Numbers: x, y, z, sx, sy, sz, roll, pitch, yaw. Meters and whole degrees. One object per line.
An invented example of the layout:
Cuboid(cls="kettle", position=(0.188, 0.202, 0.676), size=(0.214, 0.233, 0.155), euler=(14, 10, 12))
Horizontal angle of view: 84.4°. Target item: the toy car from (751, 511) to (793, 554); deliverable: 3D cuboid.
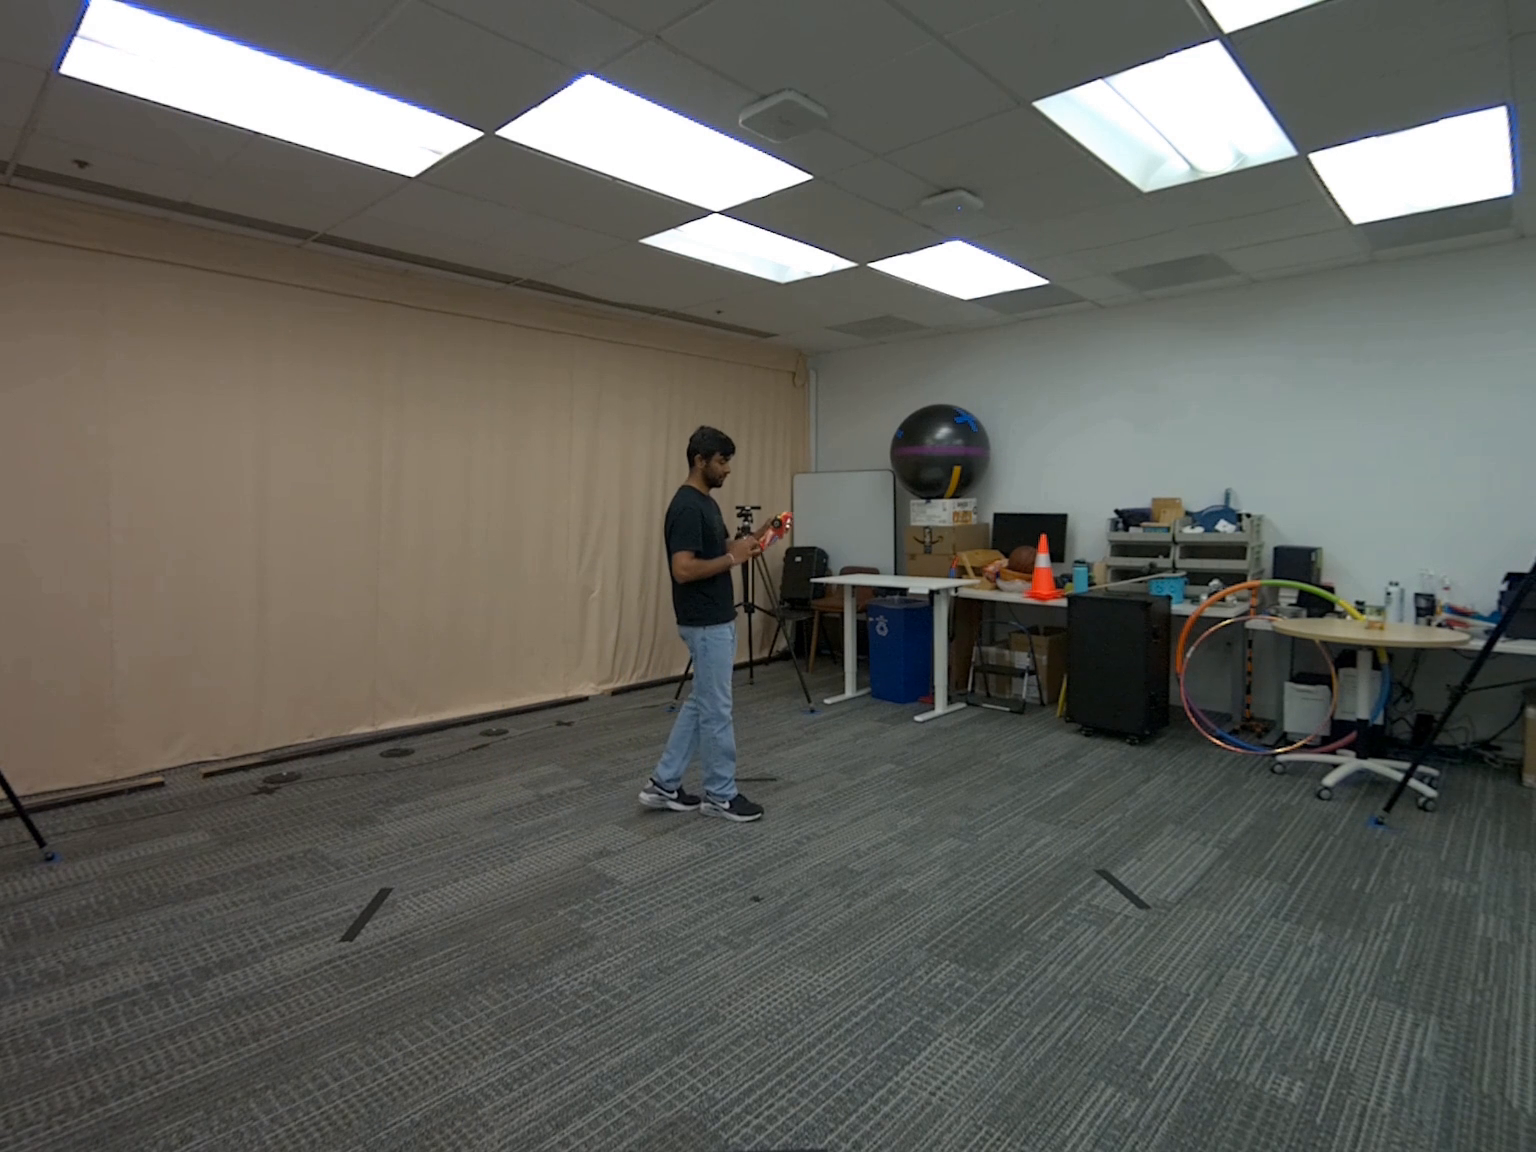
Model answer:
Cuboid(cls="toy car", position=(0.013, -0.188, 3.732), size=(0.255, 0.083, 0.130), euler=(-42, 4, 11))
